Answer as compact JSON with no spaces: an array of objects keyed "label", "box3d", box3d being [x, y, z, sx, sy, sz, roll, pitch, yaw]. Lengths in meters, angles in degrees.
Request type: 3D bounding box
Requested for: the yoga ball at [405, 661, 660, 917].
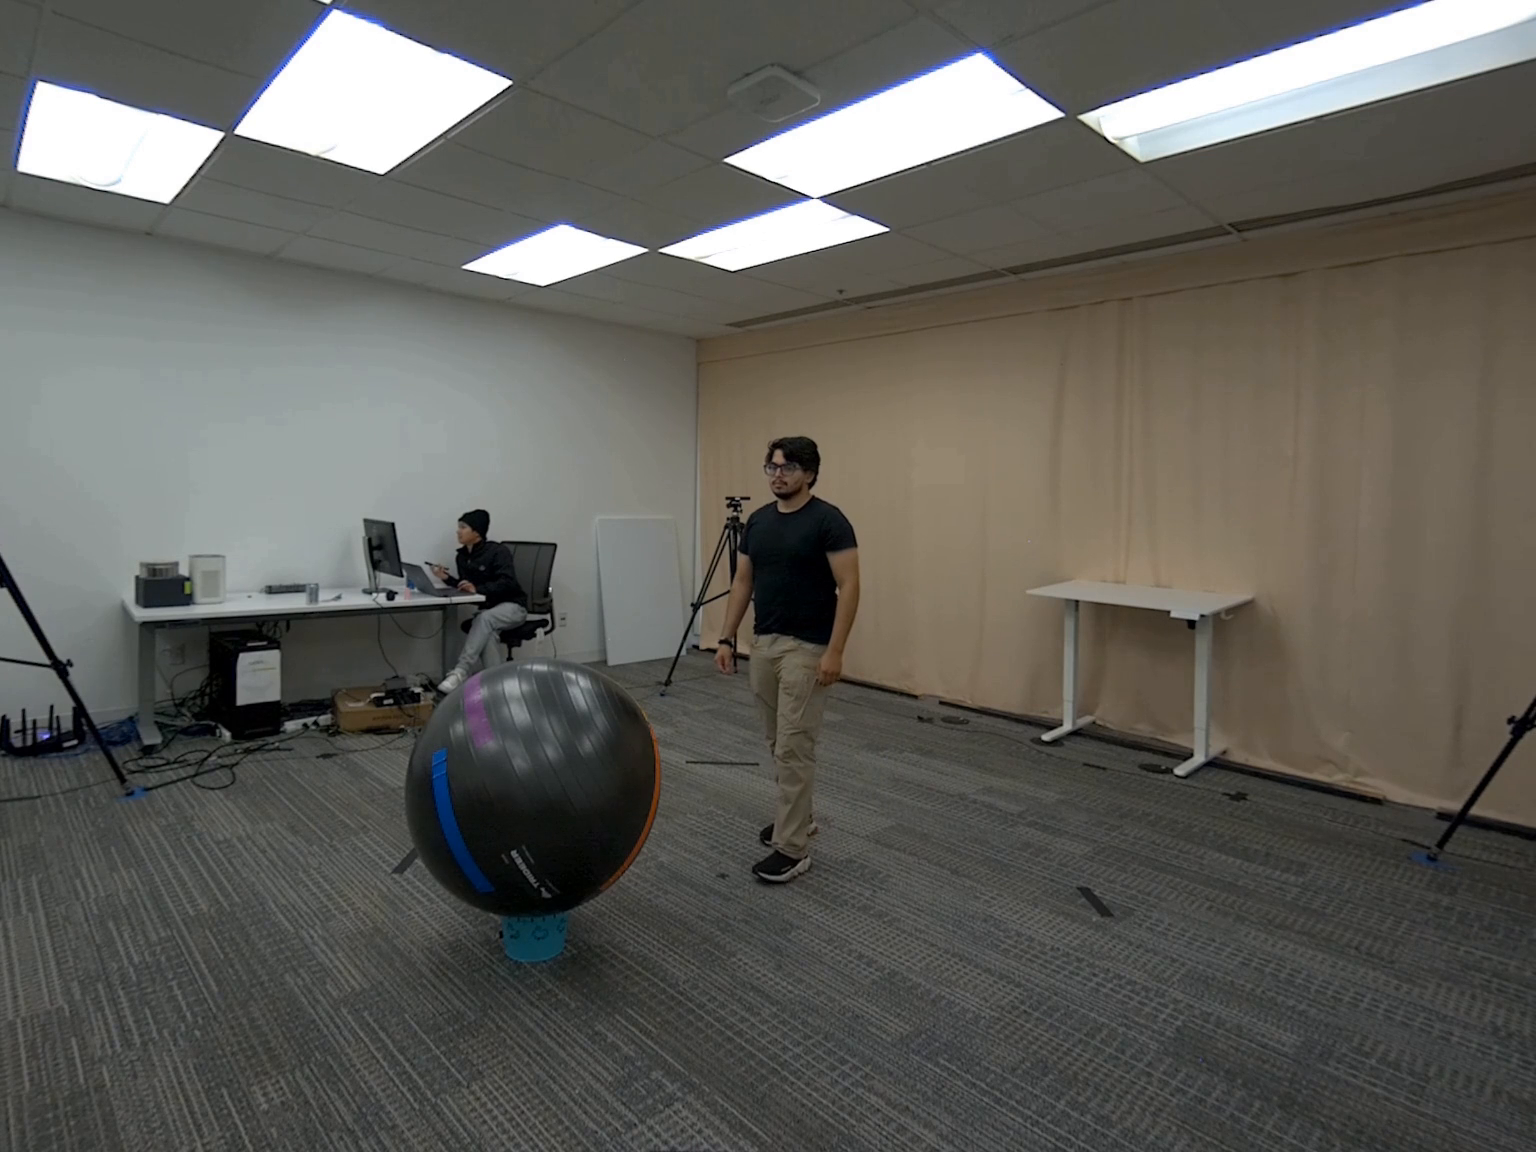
[{"label":"yoga ball","box3d":[-0.708,0.634,2.570,0.757,0.756,0.761,1,4,-1]}]
